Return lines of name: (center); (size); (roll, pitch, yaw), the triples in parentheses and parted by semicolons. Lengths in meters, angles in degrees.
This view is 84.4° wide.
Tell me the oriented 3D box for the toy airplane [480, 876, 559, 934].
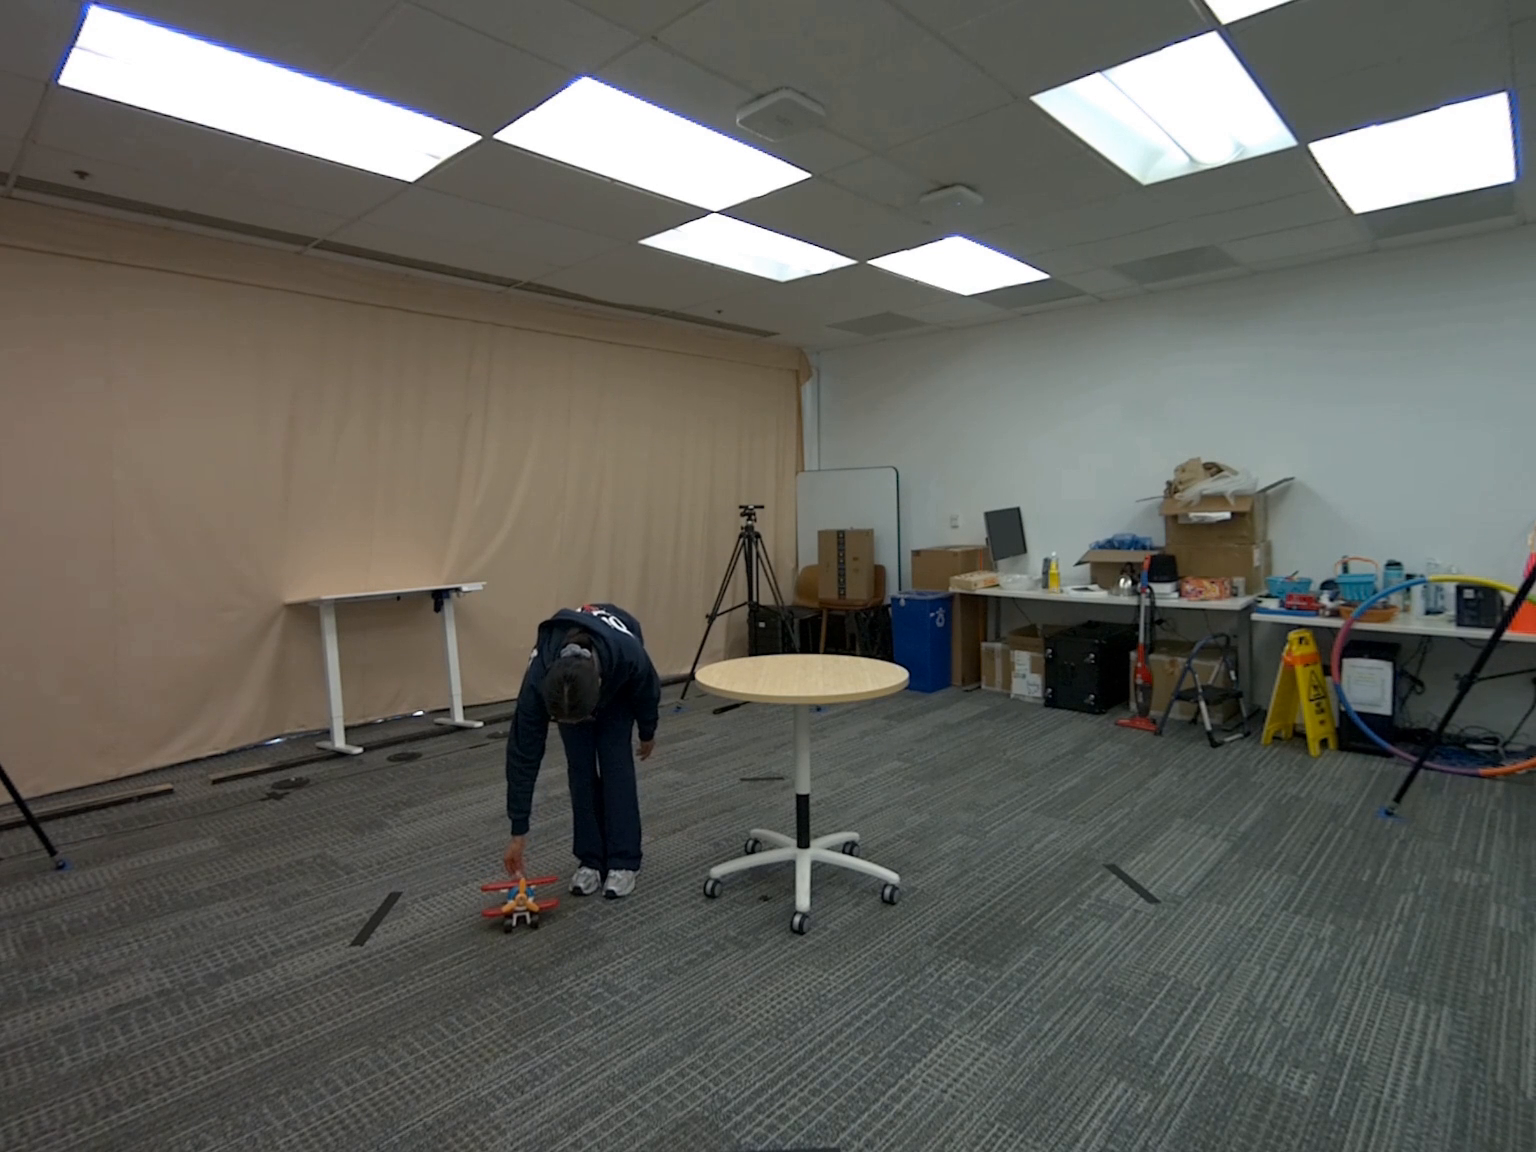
toy airplane: (-0.866, 1.096, 2.873); (0.243, 0.156, 0.268); (-6, 6, -43)
